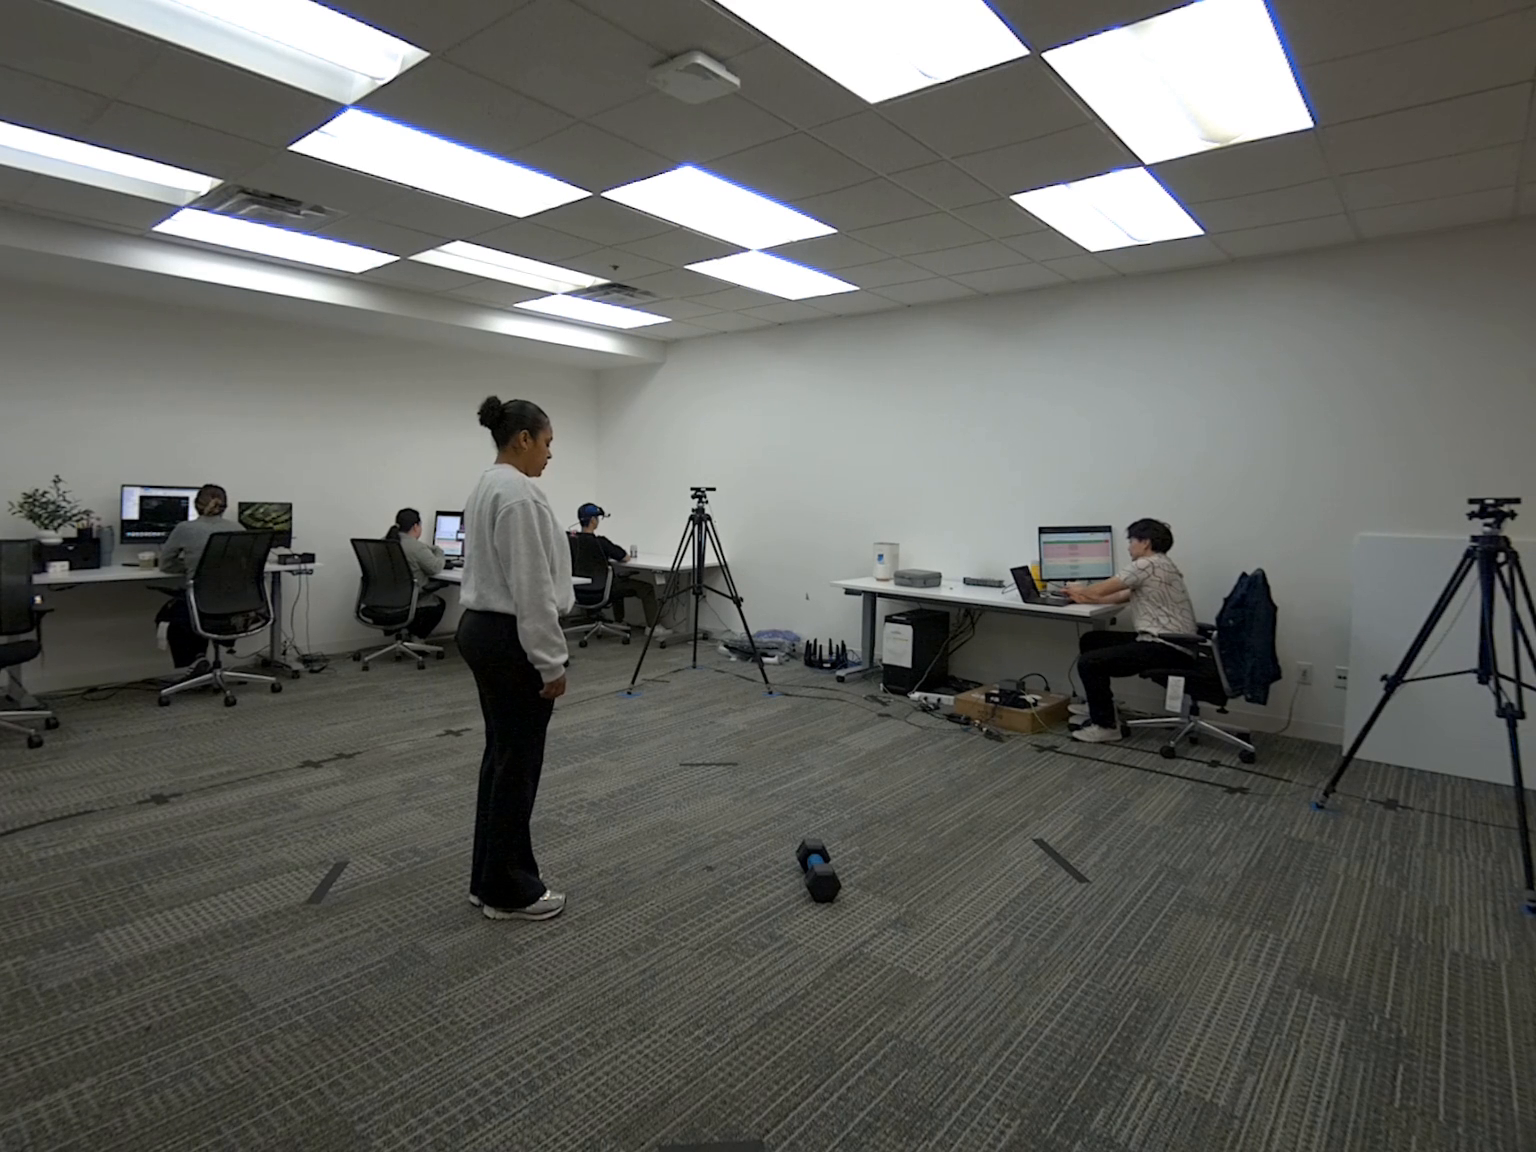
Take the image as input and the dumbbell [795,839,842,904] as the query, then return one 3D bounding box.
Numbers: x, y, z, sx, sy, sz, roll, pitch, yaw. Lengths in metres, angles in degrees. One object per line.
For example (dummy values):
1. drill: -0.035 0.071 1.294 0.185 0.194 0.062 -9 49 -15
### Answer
1. dumbbell: 0.169 1.033 3.003 0.108 0.122 0.296 -29 7 -3
